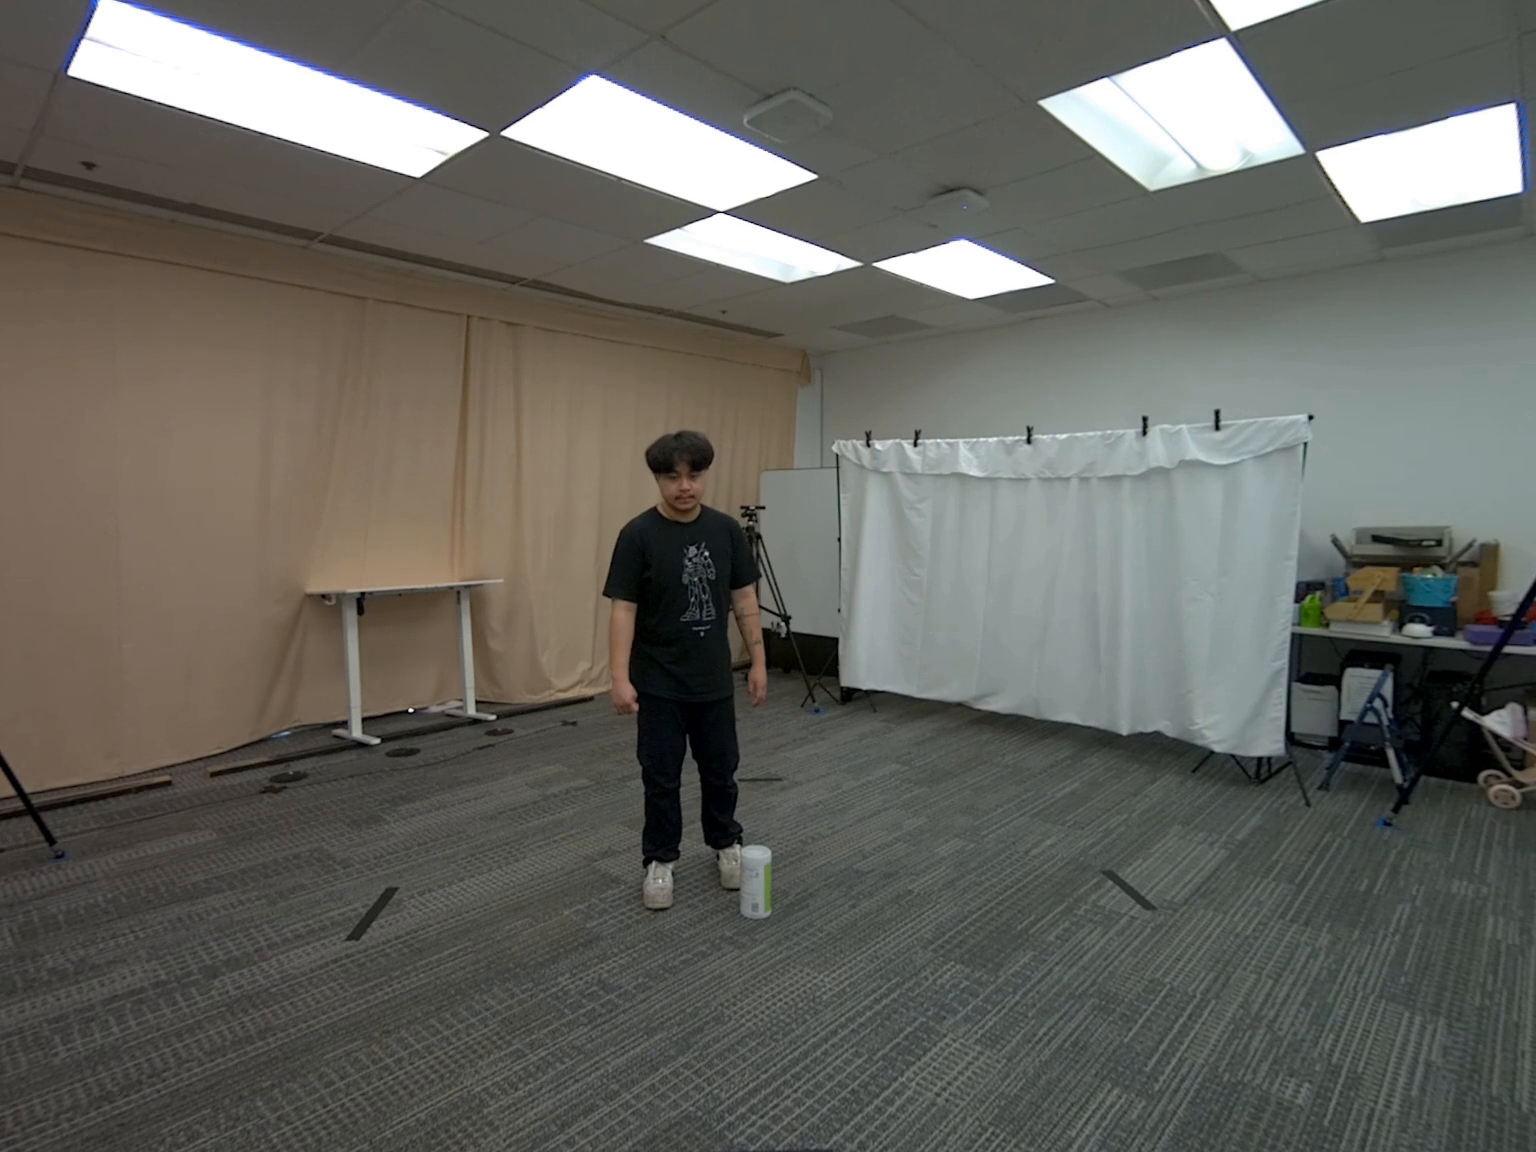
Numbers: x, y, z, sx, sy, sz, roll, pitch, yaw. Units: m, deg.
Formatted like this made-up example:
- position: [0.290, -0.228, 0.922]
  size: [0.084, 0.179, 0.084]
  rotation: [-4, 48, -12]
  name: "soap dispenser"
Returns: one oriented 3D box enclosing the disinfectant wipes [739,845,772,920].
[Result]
- position: [-0.037, 1.047, 2.876]
  size: [0.118, 0.217, 0.118]
  rotation: [0, 2, -2]
  name: "disinfectant wipes"
